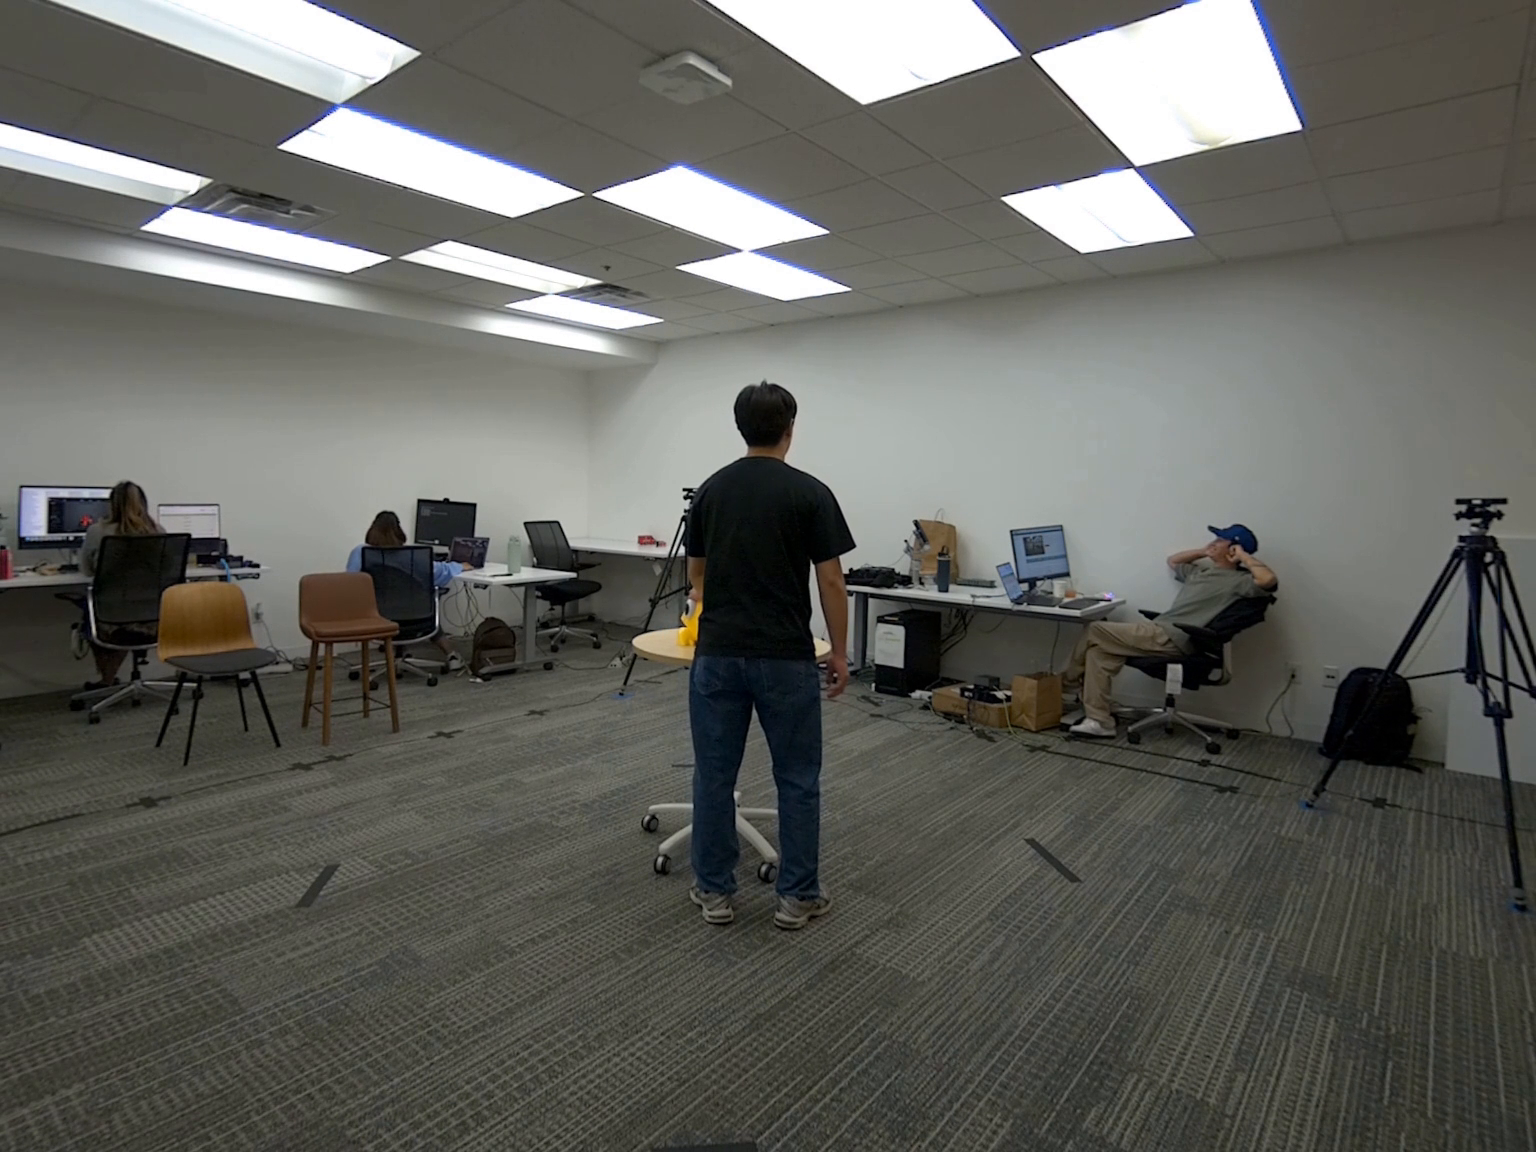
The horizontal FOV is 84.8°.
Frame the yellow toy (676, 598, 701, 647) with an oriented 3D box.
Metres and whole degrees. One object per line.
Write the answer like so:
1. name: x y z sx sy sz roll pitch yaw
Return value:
1. yellow toy: -0.255 0.143 3.281 0.206 0.230 0.192 1 3 5
